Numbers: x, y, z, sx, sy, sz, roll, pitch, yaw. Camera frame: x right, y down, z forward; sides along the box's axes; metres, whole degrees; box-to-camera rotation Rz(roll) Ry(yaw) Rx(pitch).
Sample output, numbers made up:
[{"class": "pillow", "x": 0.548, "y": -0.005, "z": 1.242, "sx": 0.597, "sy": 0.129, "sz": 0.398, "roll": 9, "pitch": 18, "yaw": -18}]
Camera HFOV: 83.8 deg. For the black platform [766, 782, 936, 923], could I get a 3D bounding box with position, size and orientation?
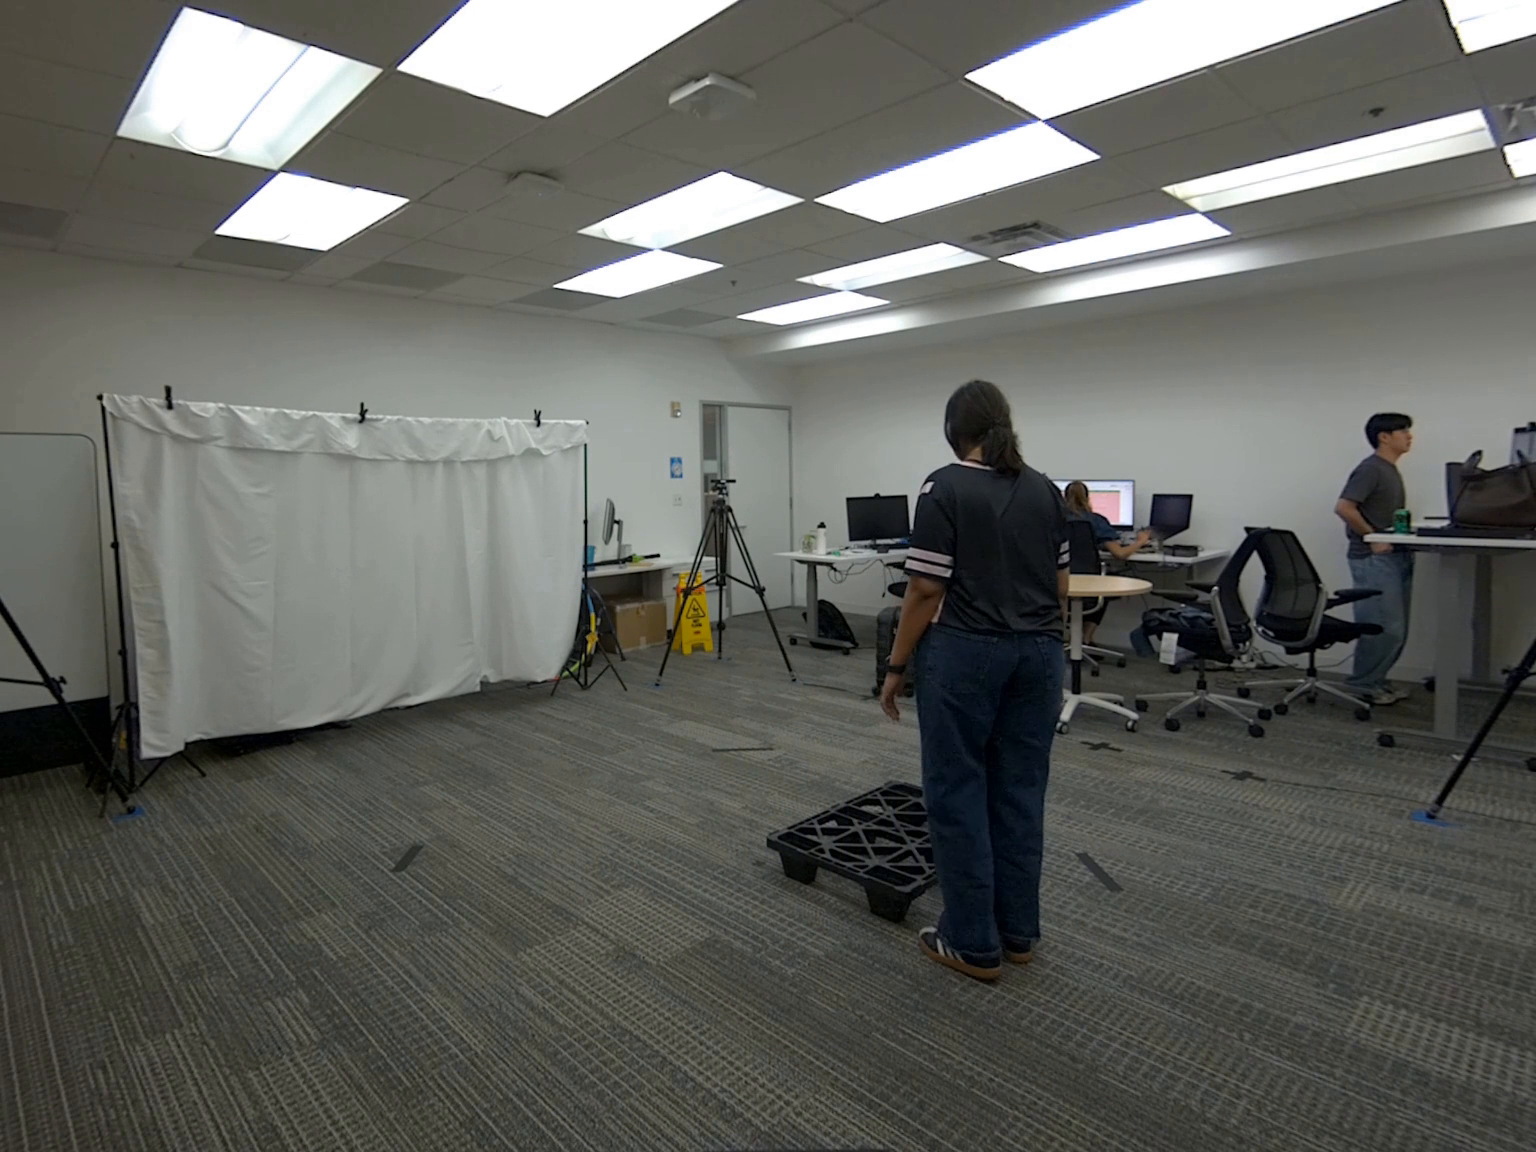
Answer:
[{"class": "black platform", "x": 0.473, "y": 0.972, "z": 3.088, "sx": 0.624, "sy": 0.143, "sz": 0.784, "roll": 4, "pitch": 8, "yaw": 44}]
